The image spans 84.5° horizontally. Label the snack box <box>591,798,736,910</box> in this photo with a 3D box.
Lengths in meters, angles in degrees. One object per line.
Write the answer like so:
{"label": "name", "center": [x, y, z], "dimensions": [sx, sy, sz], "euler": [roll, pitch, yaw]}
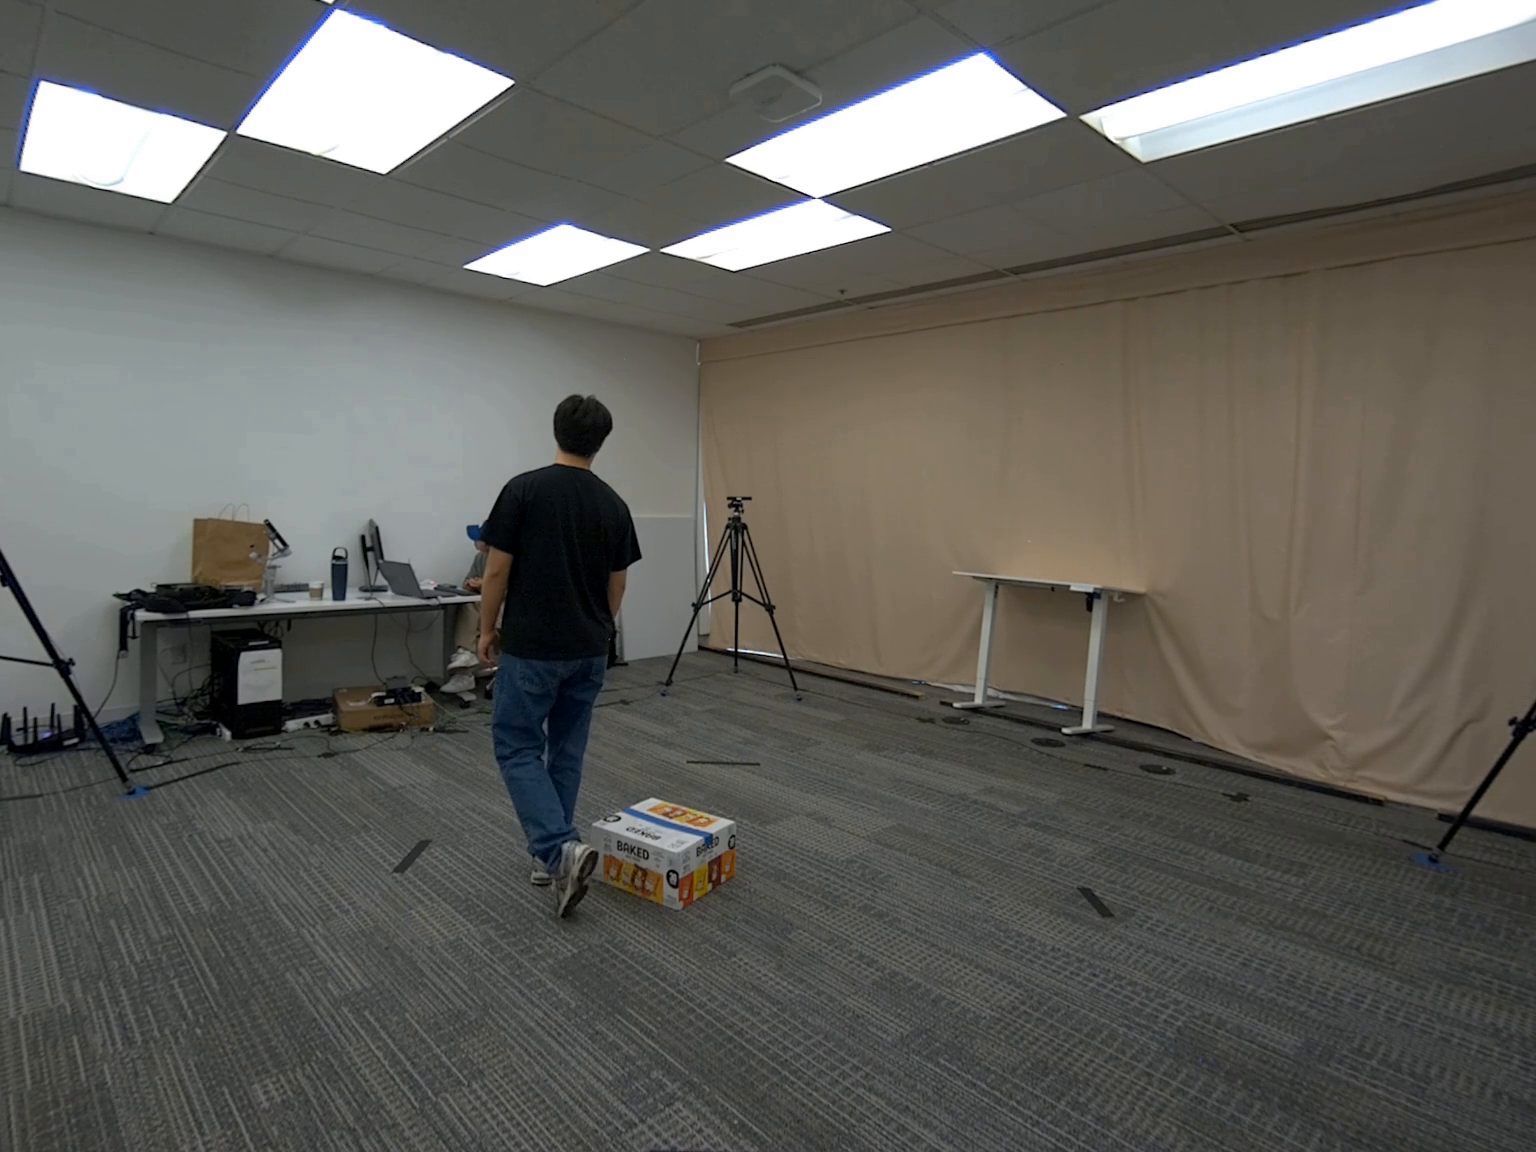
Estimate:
{"label": "snack box", "center": [-0.388, 1.003, 3.071], "dimensions": [0.415, 0.205, 0.333], "euler": [5, 6, 33]}
